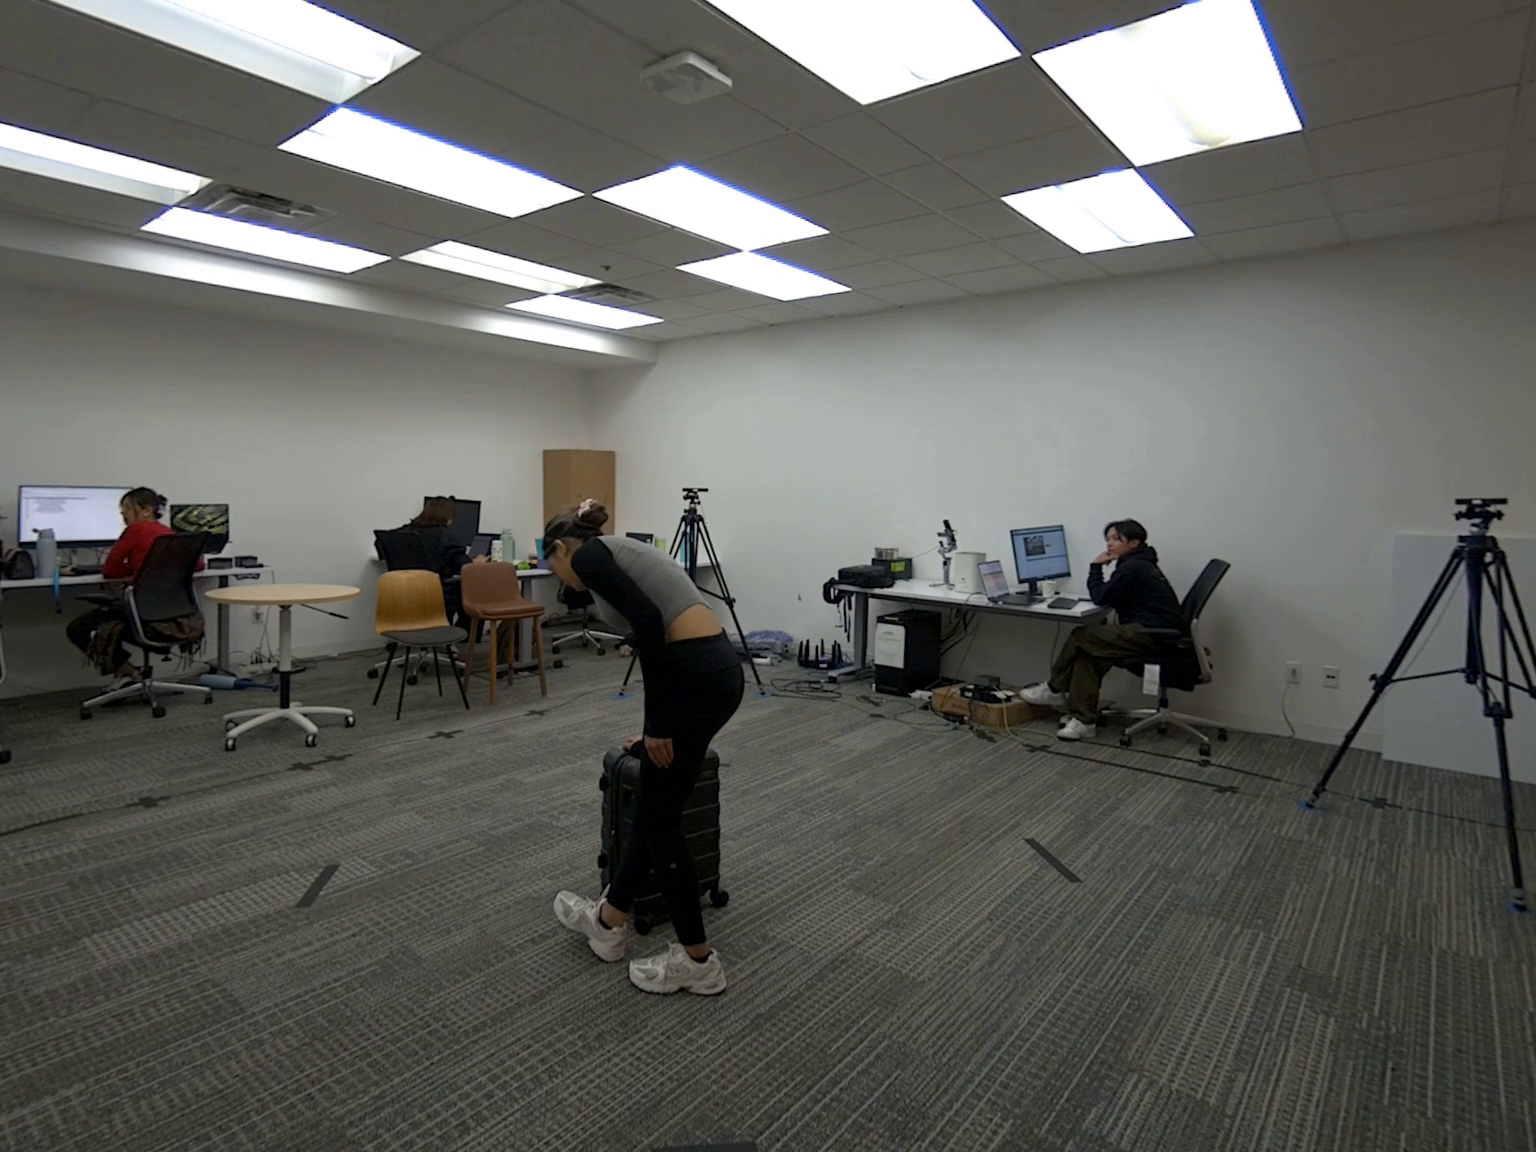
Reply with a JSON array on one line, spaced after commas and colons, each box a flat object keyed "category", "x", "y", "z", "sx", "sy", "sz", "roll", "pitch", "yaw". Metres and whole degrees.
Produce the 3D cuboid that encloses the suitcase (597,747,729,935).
[{"category": "suitcase", "x": -0.361, "y": 0.820, "z": 2.828, "sx": 0.364, "sy": 0.549, "sz": 0.256, "roll": -2, "pitch": 2, "yaw": -38}]
